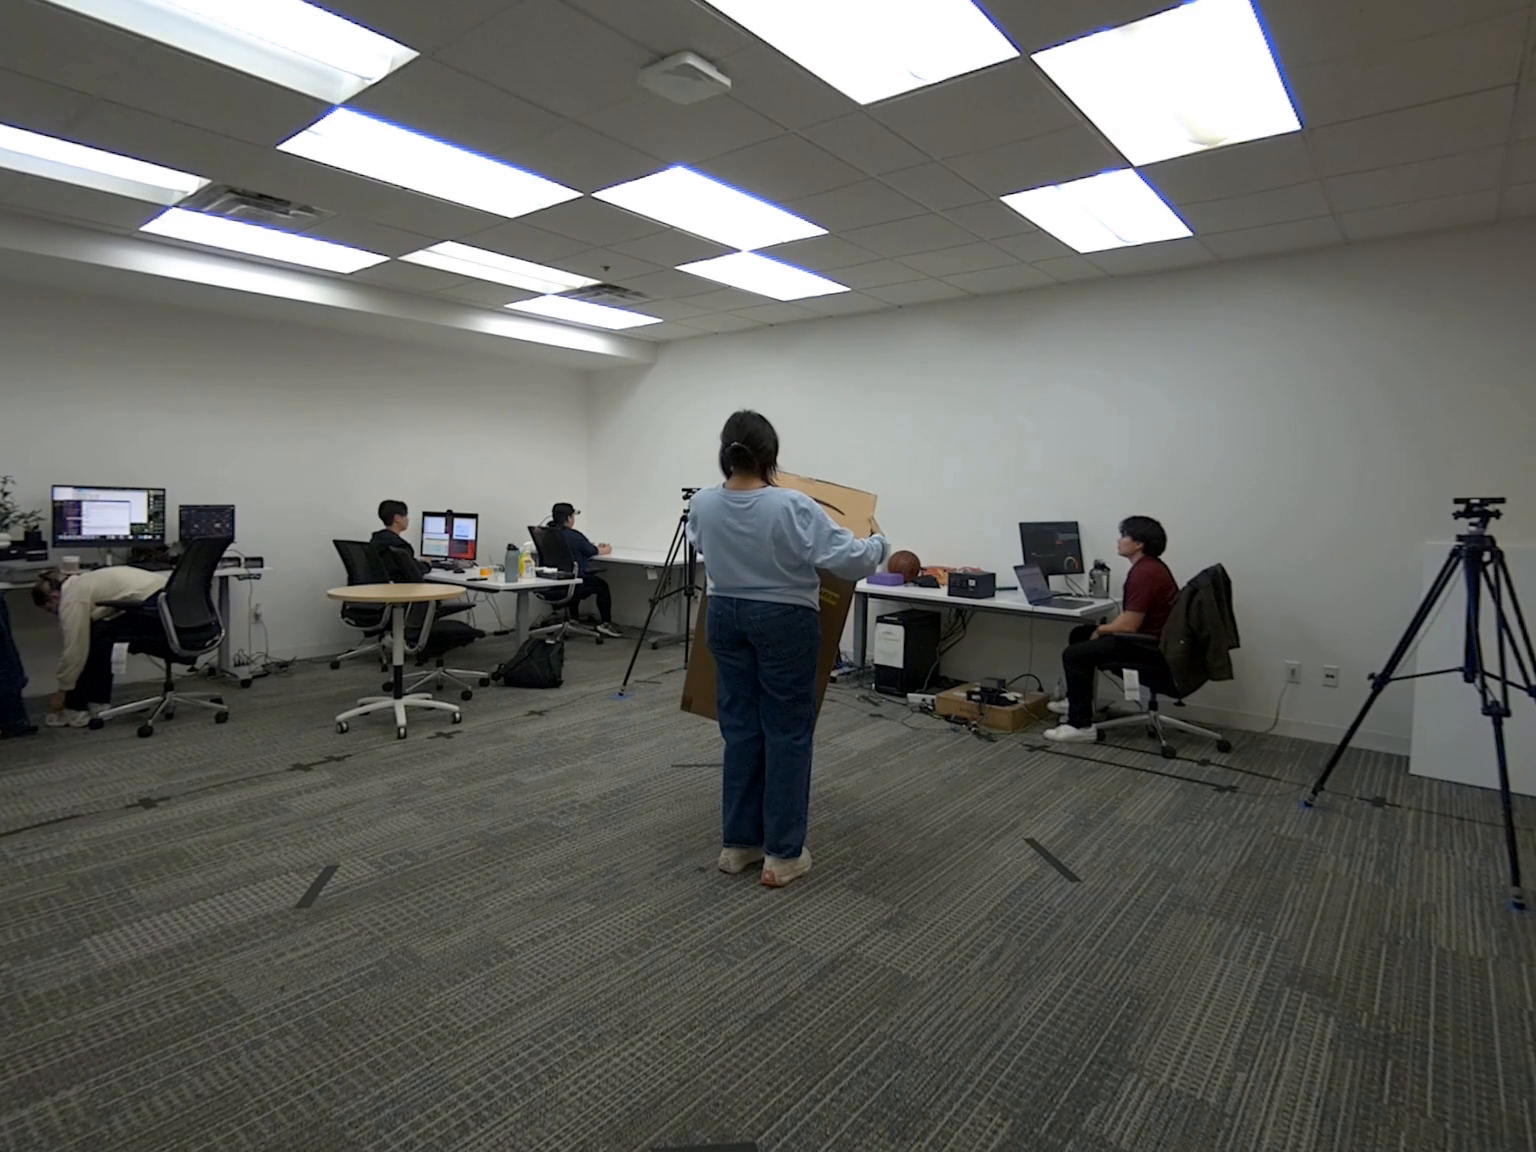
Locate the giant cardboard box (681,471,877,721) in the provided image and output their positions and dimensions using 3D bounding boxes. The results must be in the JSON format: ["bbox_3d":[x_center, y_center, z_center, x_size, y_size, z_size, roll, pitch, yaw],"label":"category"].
[{"bbox_3d":[0.019,0.121,3.555,0.589,1.008,0.451,16,31,6],"label":"giant cardboard box"}]
